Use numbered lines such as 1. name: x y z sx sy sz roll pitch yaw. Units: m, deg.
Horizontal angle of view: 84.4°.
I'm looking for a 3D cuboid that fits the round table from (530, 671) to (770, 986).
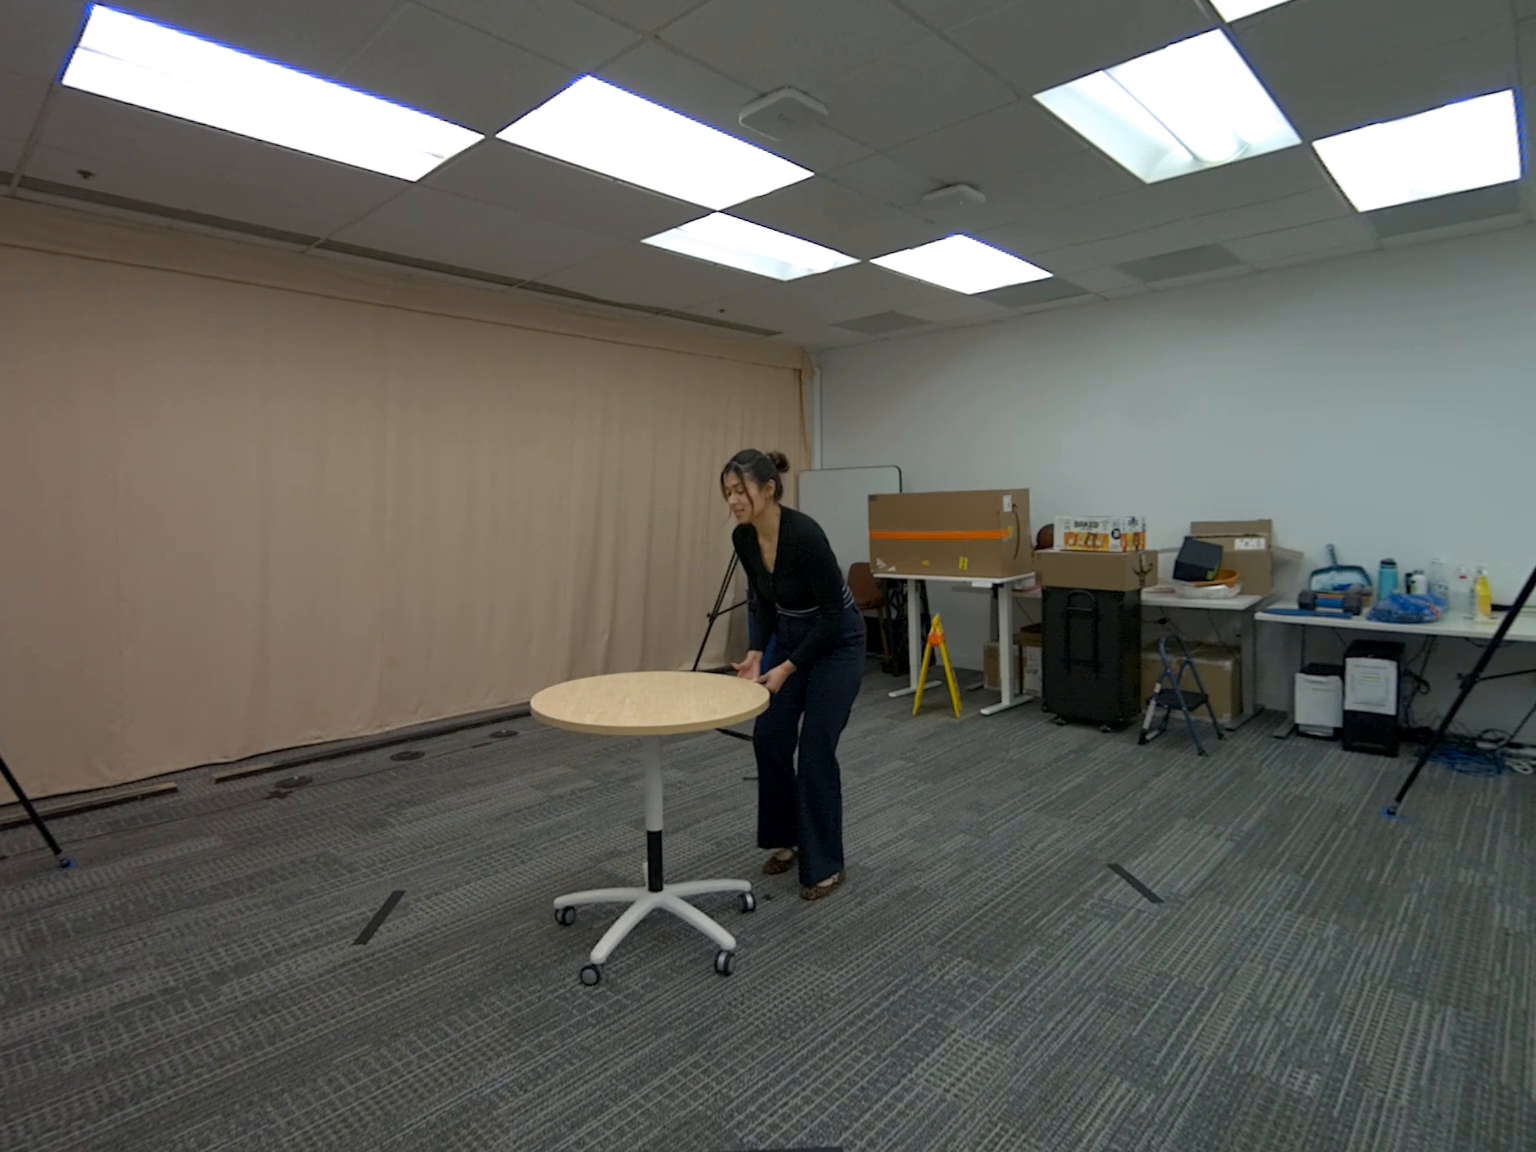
1. round table: -0.365 0.780 2.734 0.763 0.792 0.767 -1 4 -2
